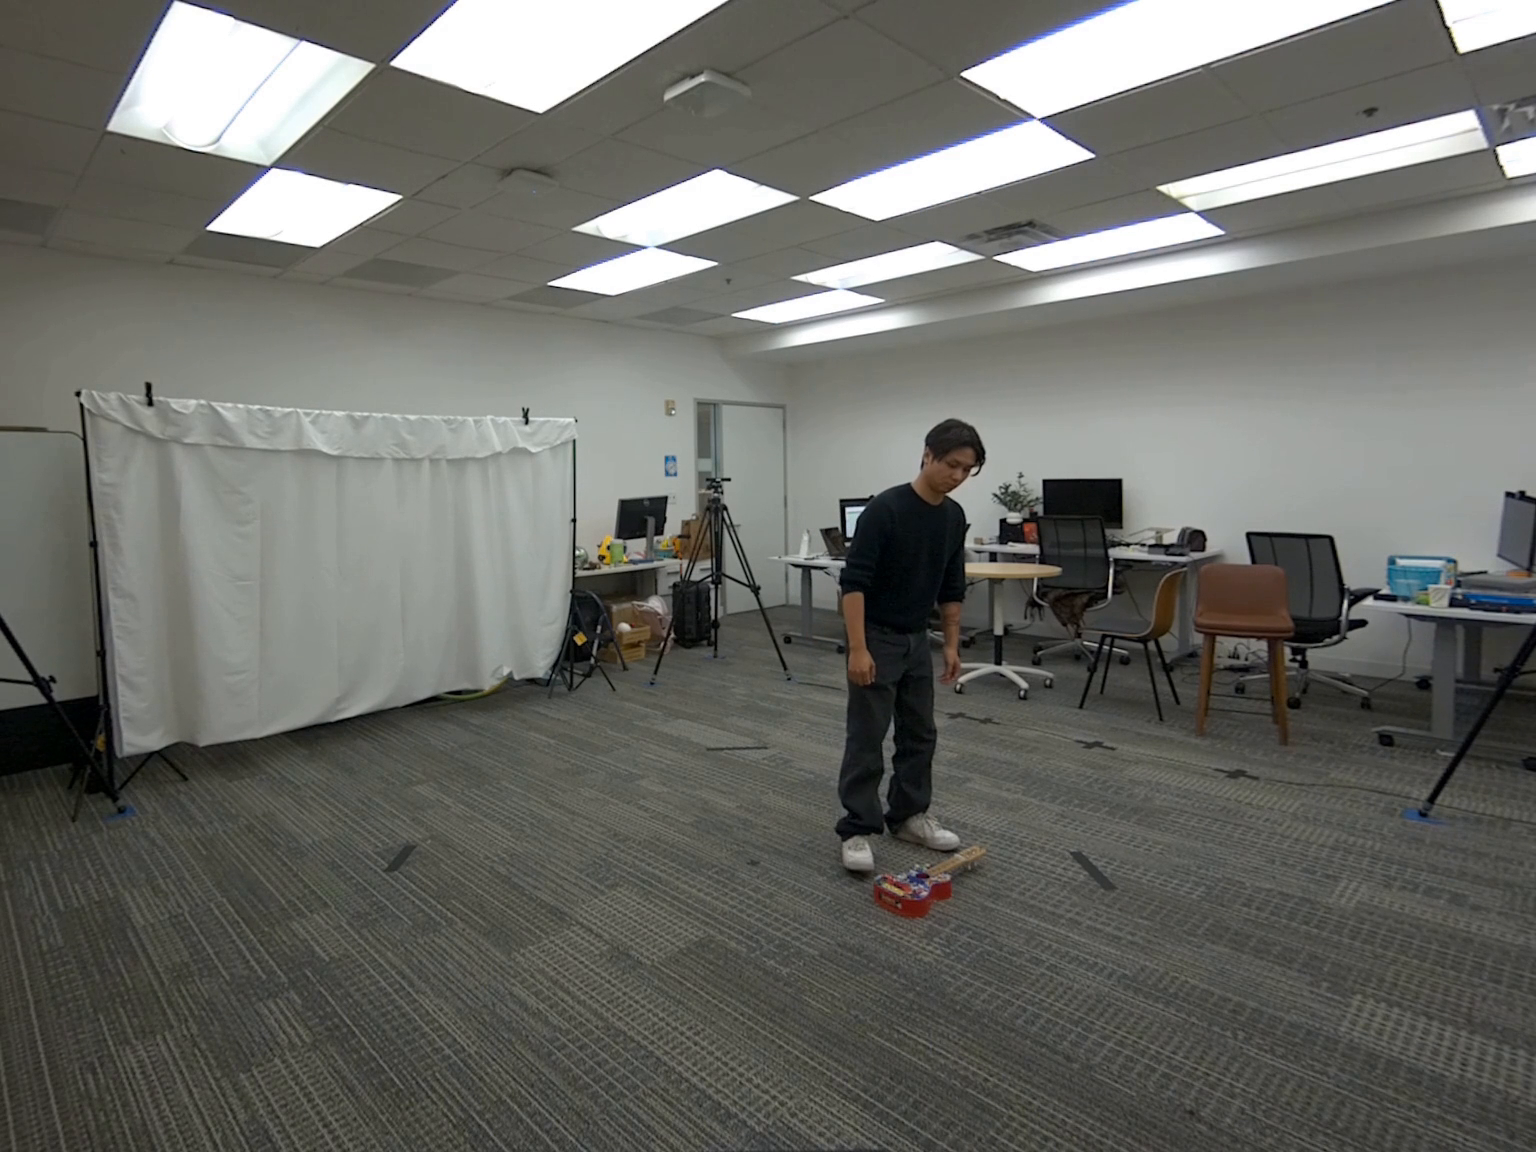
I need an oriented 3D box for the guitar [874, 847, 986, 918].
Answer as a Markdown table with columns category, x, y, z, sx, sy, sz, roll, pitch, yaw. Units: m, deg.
| category | x | y | z | sx | sy | sz | roll | pitch | yaw |
| --- | --- | --- | --- | --- | --- | --- | --- | --- | --- |
| guitar | 0.594 | 1.029 | 2.873 | 0.486 | 0.070 | 0.198 | -5 | 8 | -30 |
